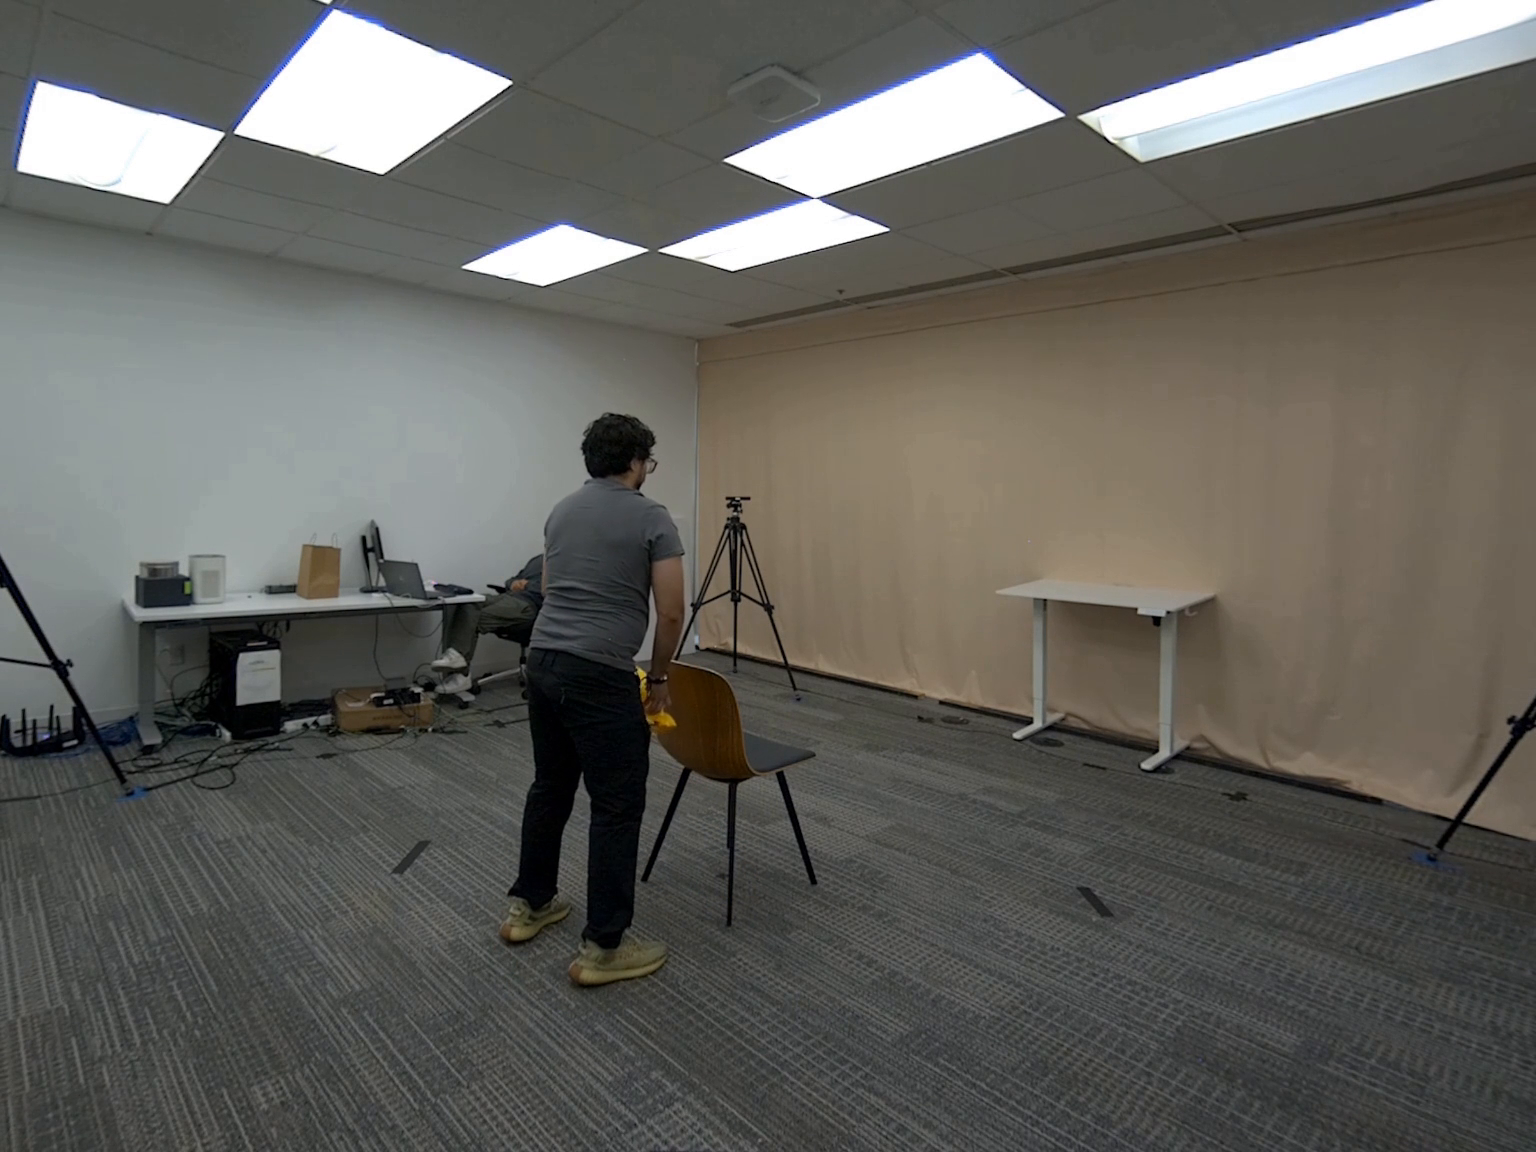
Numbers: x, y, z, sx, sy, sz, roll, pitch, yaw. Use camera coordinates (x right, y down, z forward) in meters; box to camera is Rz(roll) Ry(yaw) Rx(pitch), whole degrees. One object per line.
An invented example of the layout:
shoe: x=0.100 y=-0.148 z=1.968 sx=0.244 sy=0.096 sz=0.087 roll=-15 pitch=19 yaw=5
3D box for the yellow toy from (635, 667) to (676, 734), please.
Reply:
yellow toy: x=-0.418 y=0.393 z=2.779 sx=0.196 sy=0.234 sz=0.199 roll=-19 pitch=-26 yaw=35
